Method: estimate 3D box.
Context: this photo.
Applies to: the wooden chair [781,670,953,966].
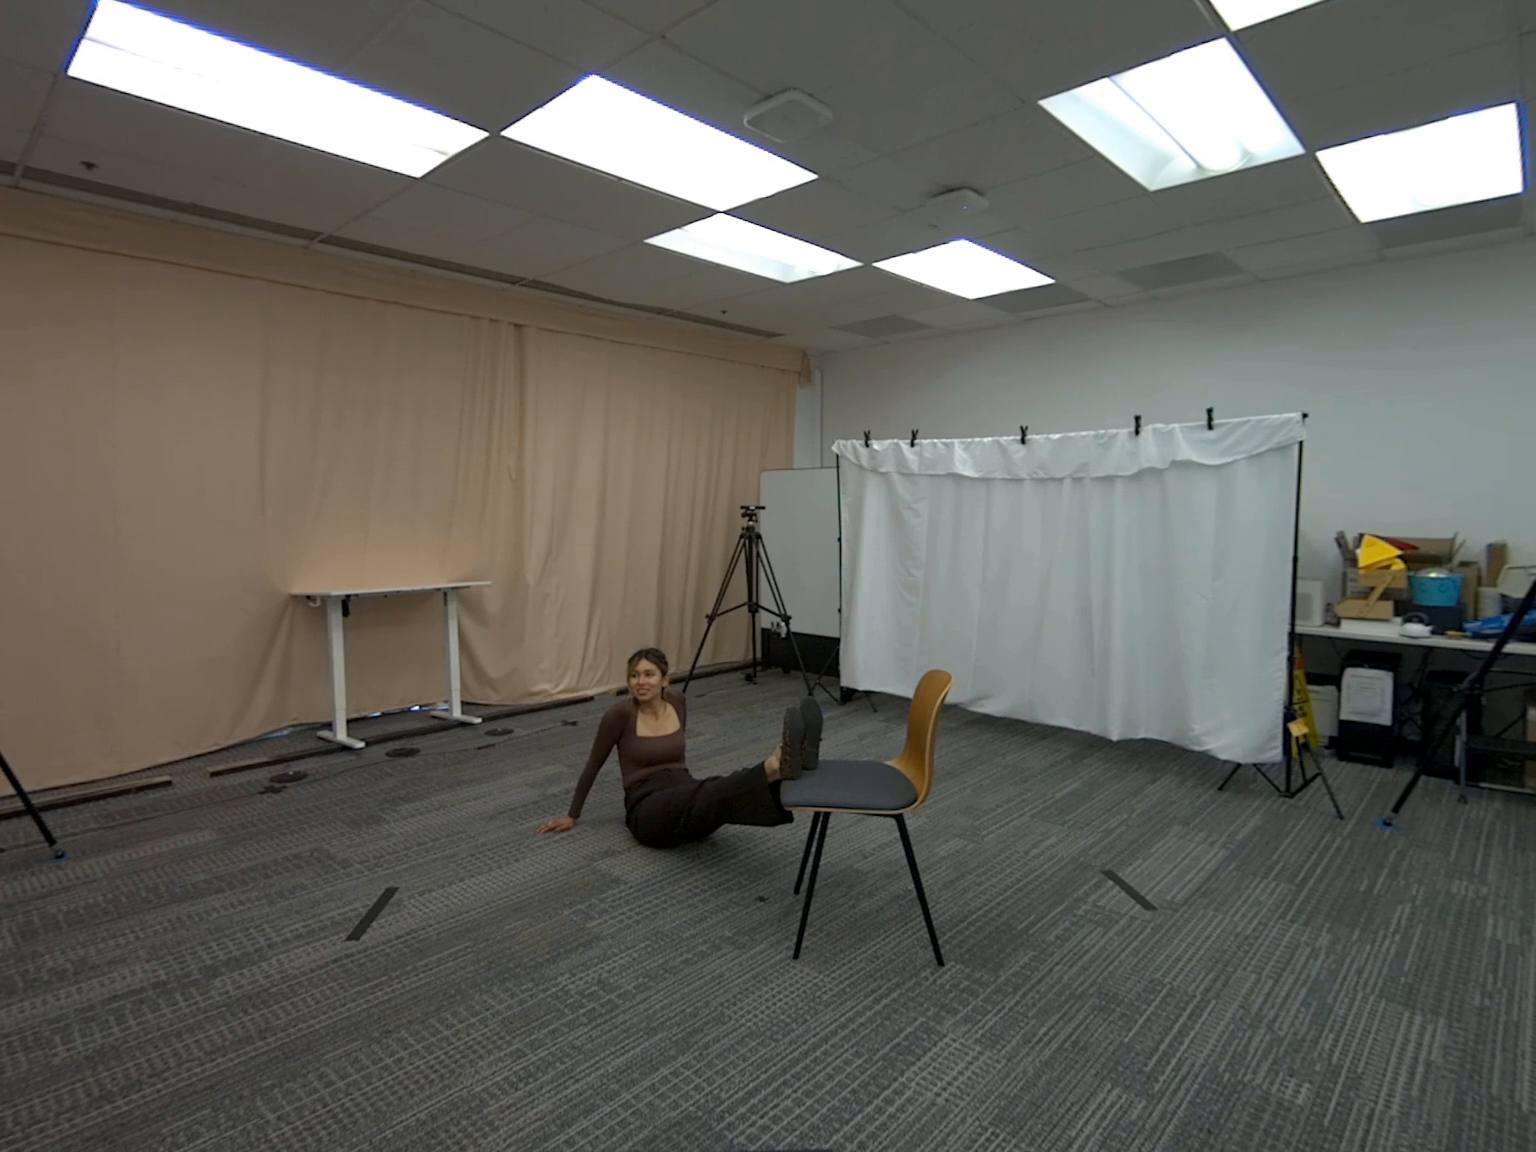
[{"bbox_3d":[0.312,0.735,2.754,0.526,0.875,0.476,4,4,4],"label":"wooden chair"}]
